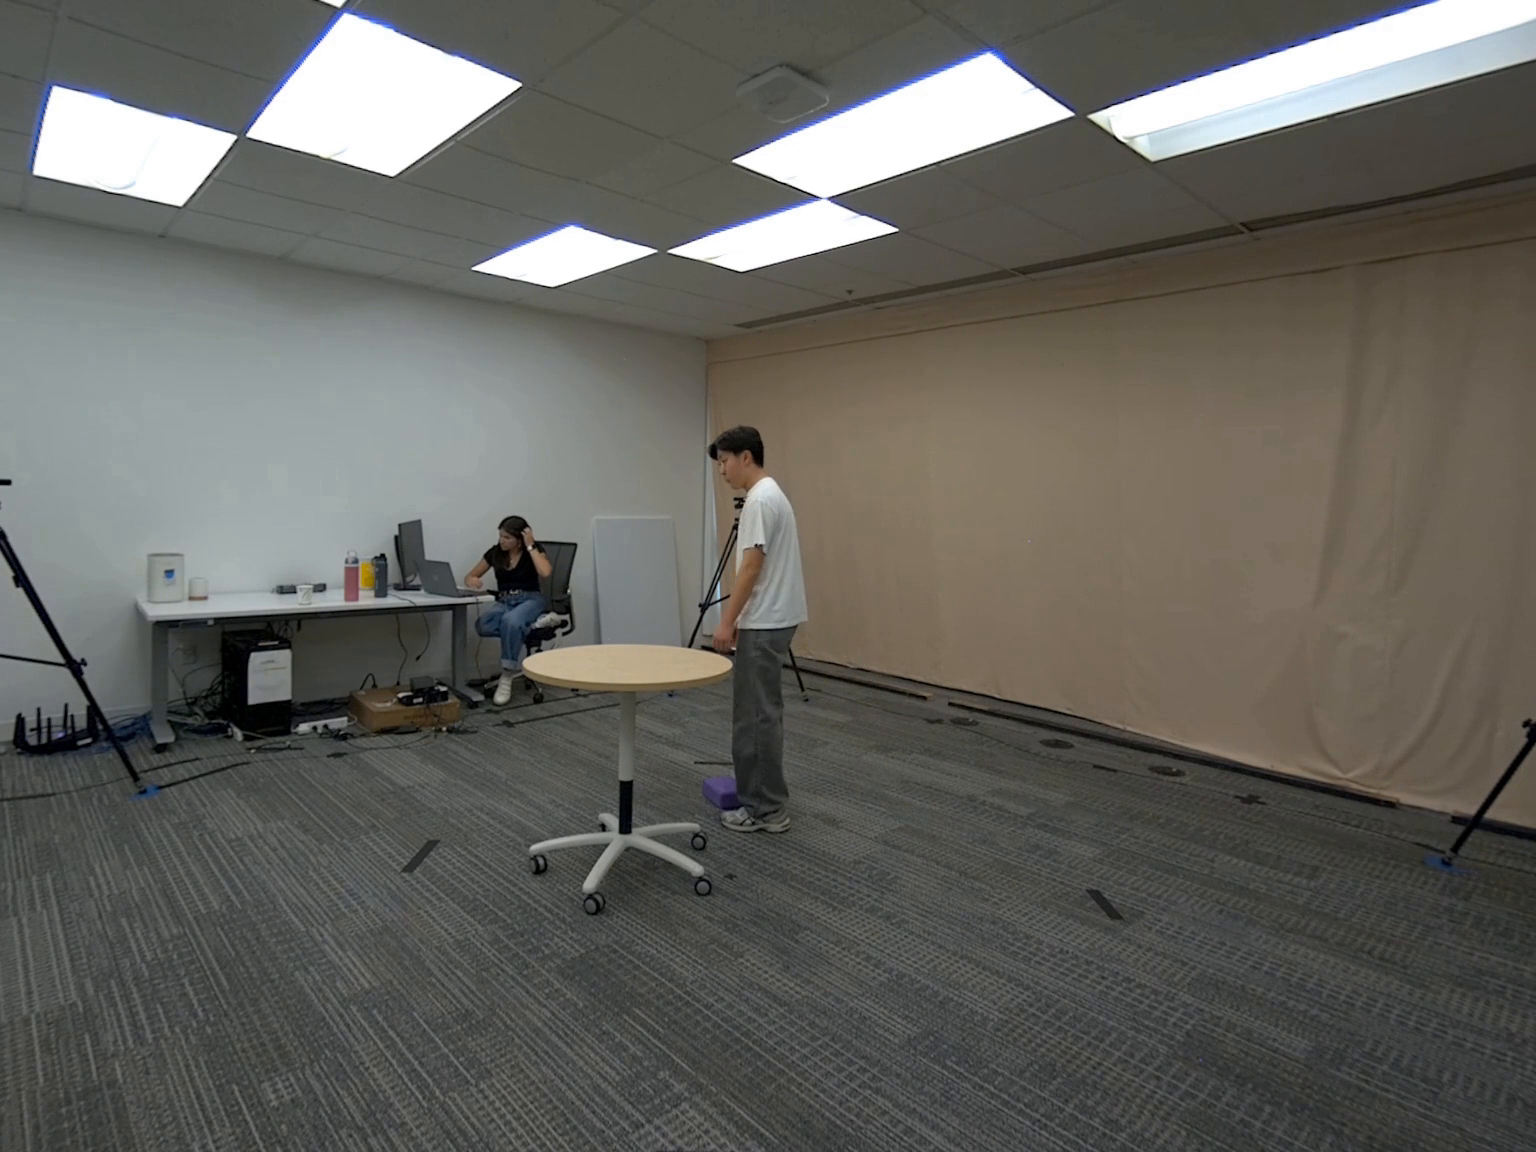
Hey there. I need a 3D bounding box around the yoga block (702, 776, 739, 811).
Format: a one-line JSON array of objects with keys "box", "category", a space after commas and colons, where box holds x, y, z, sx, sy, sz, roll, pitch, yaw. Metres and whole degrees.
[{"box": [-0.205, 0.999, 3.886, 0.146, 0.076, 0.234, -1, 4, -27], "category": "yoga block"}]
